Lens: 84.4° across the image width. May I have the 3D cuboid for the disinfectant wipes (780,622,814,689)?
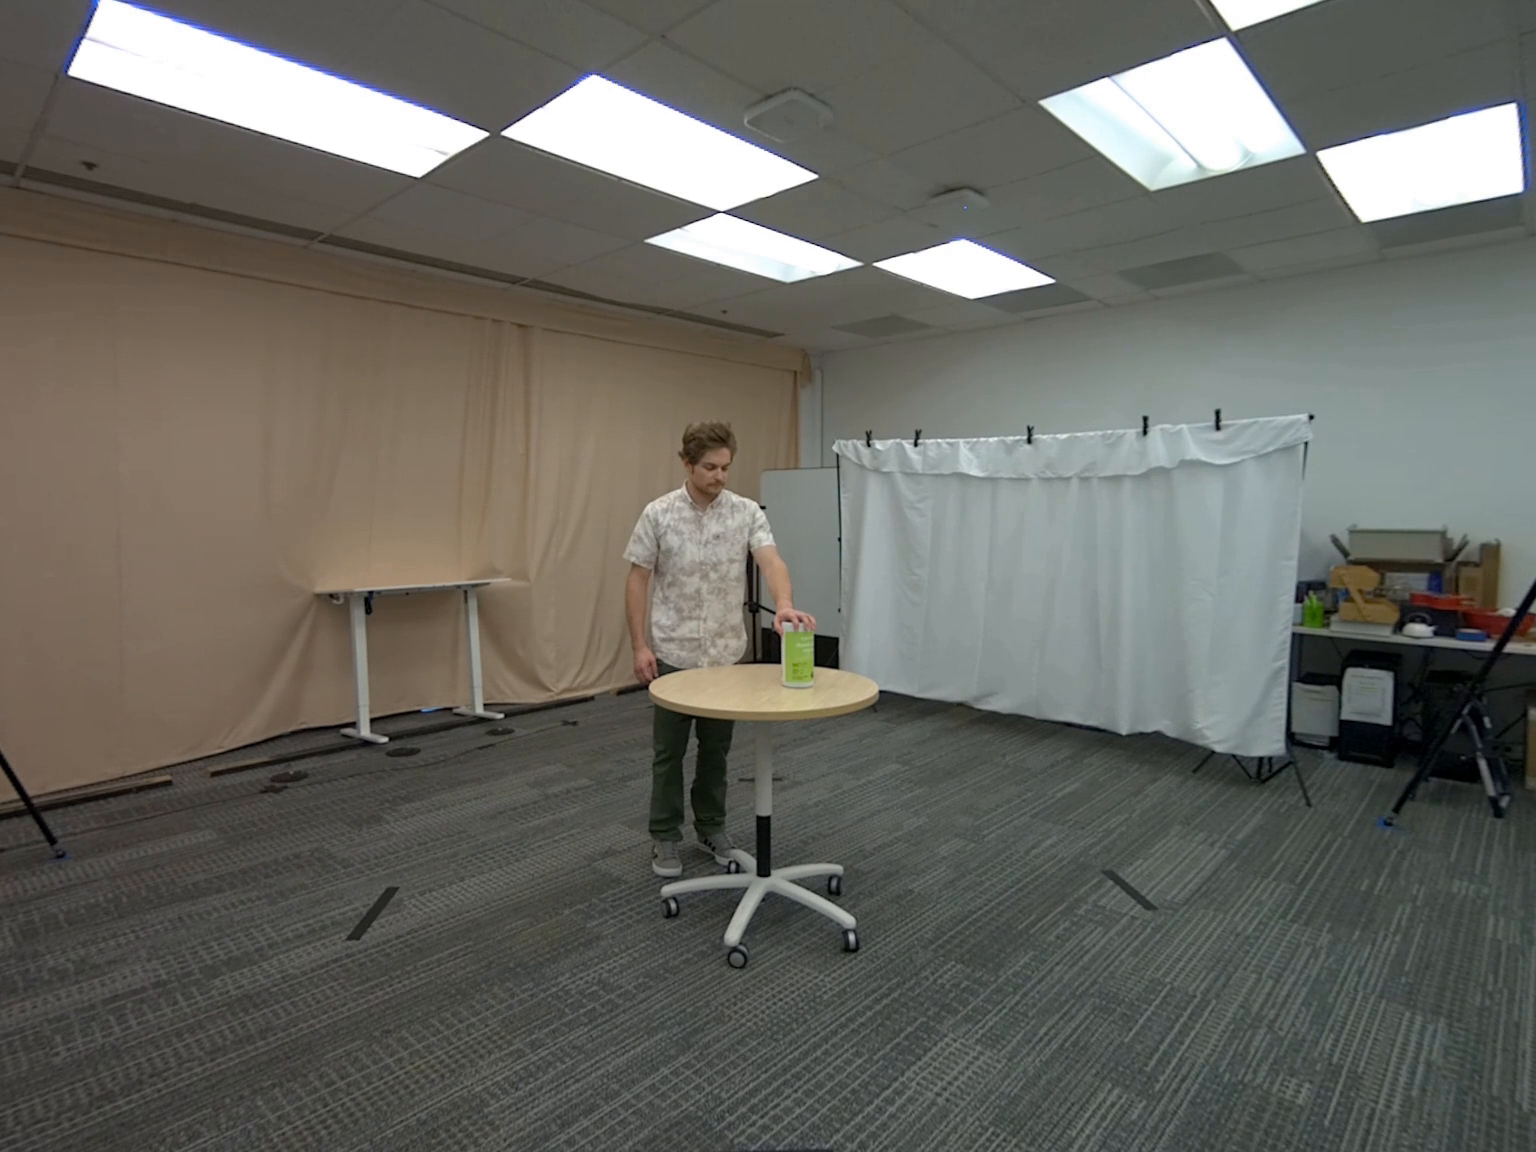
[{"bbox_3d":[0.102,0.264,2.808,0.117,0.217,0.118,1,4,-2],"label":"disinfectant wipes"}]
